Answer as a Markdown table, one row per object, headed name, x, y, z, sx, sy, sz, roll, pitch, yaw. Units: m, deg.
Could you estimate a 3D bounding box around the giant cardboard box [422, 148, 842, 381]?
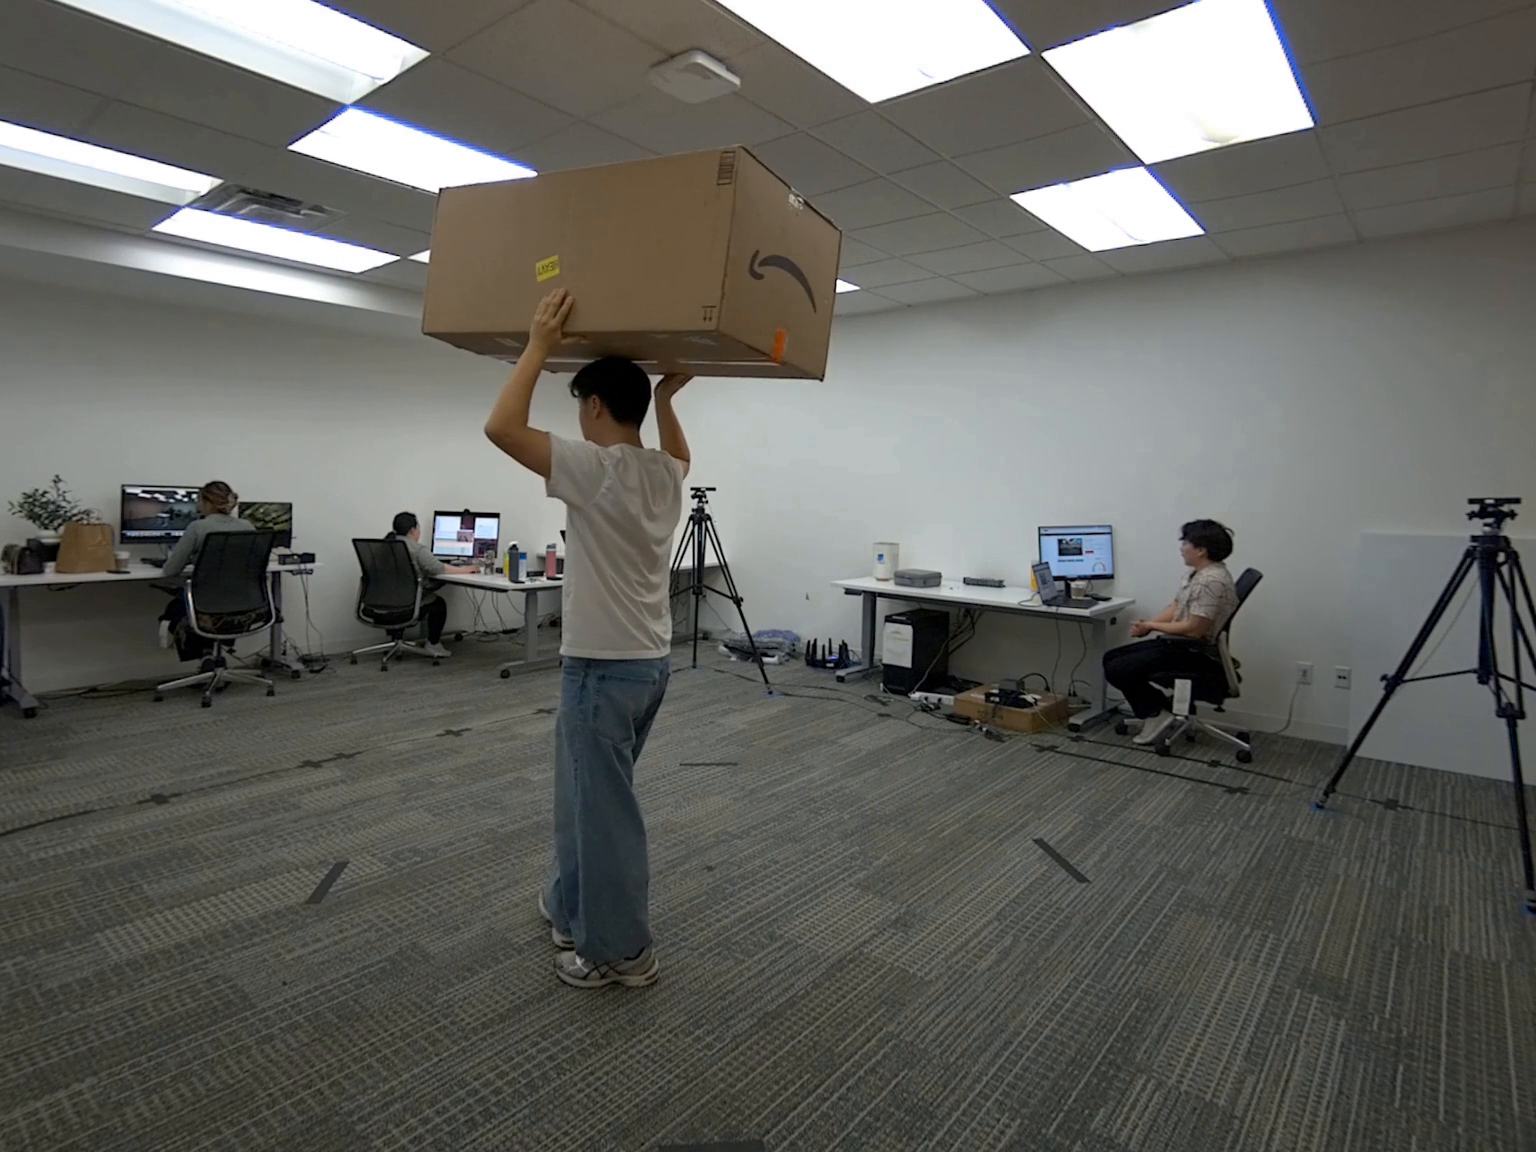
| name | x | y | z | sx | sy | sz | roll | pitch | yaw |
| --- | --- | --- | --- | --- | --- | --- | --- | --- | --- |
| giant cardboard box | -0.402 | -0.828 | 2.419 | 1.059 | 0.425 | 0.560 | 10 | 4 | 30 |
